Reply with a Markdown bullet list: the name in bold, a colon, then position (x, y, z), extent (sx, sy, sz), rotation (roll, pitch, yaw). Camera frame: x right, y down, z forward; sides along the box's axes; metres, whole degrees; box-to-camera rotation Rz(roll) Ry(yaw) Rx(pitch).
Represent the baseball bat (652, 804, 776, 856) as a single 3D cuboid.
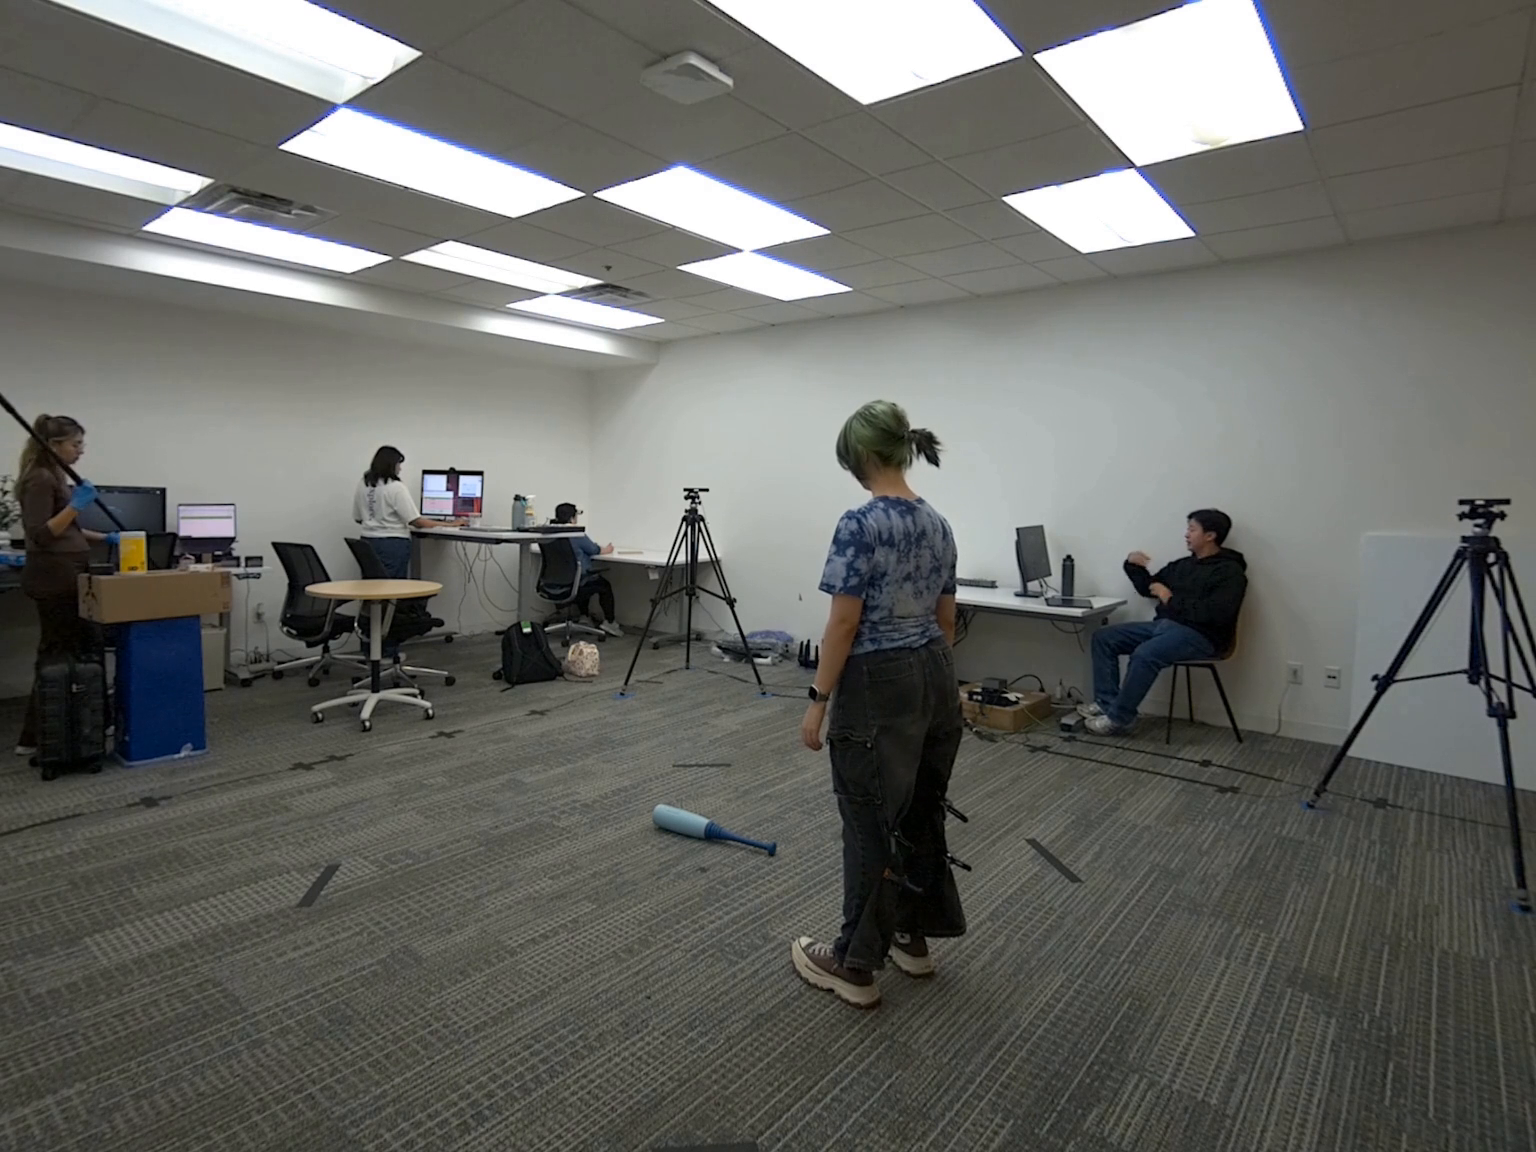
- **baseball bat**: position (-0.229, 1.008, 3.366), extent (0.559, 0.088, 0.087), rotation (7, 6, 27)
